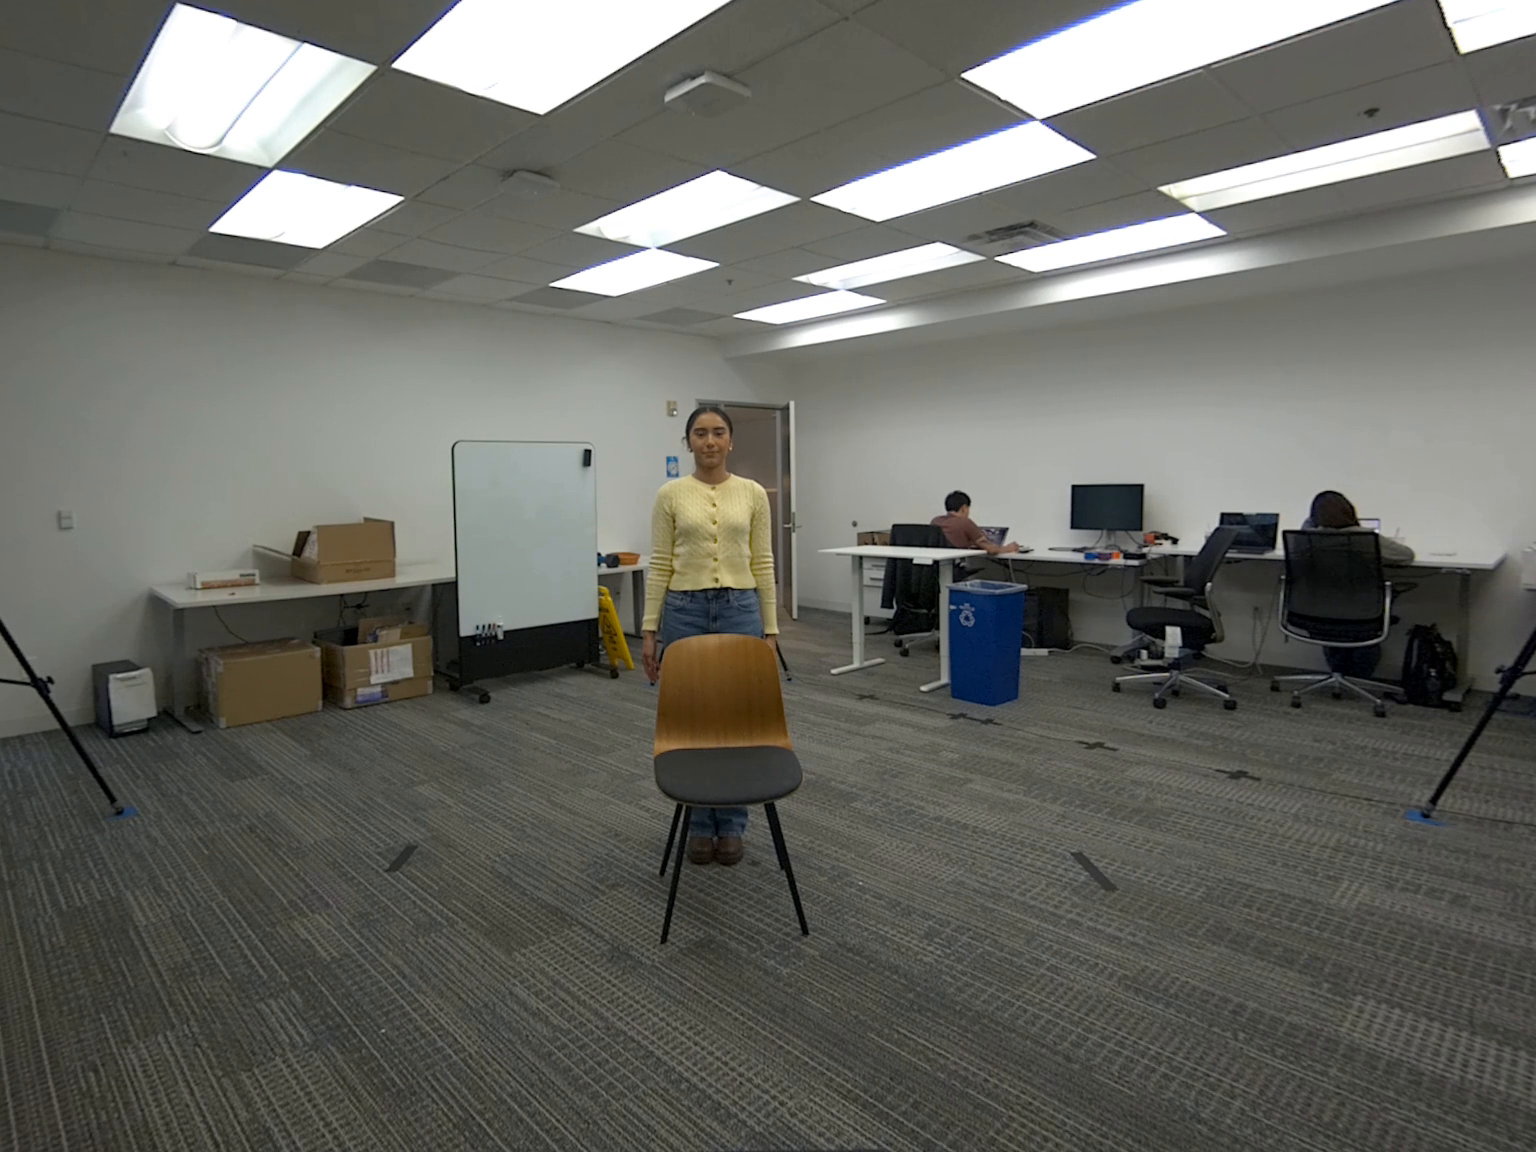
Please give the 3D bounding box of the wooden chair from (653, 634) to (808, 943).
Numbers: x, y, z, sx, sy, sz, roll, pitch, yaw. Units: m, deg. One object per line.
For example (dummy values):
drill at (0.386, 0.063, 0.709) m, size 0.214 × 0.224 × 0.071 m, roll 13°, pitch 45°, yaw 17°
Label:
wooden chair at (-0.136, 0.660, 2.770) m, size 0.475 × 0.877 × 0.526 m, roll -1°, pitch 0°, yaw -7°
